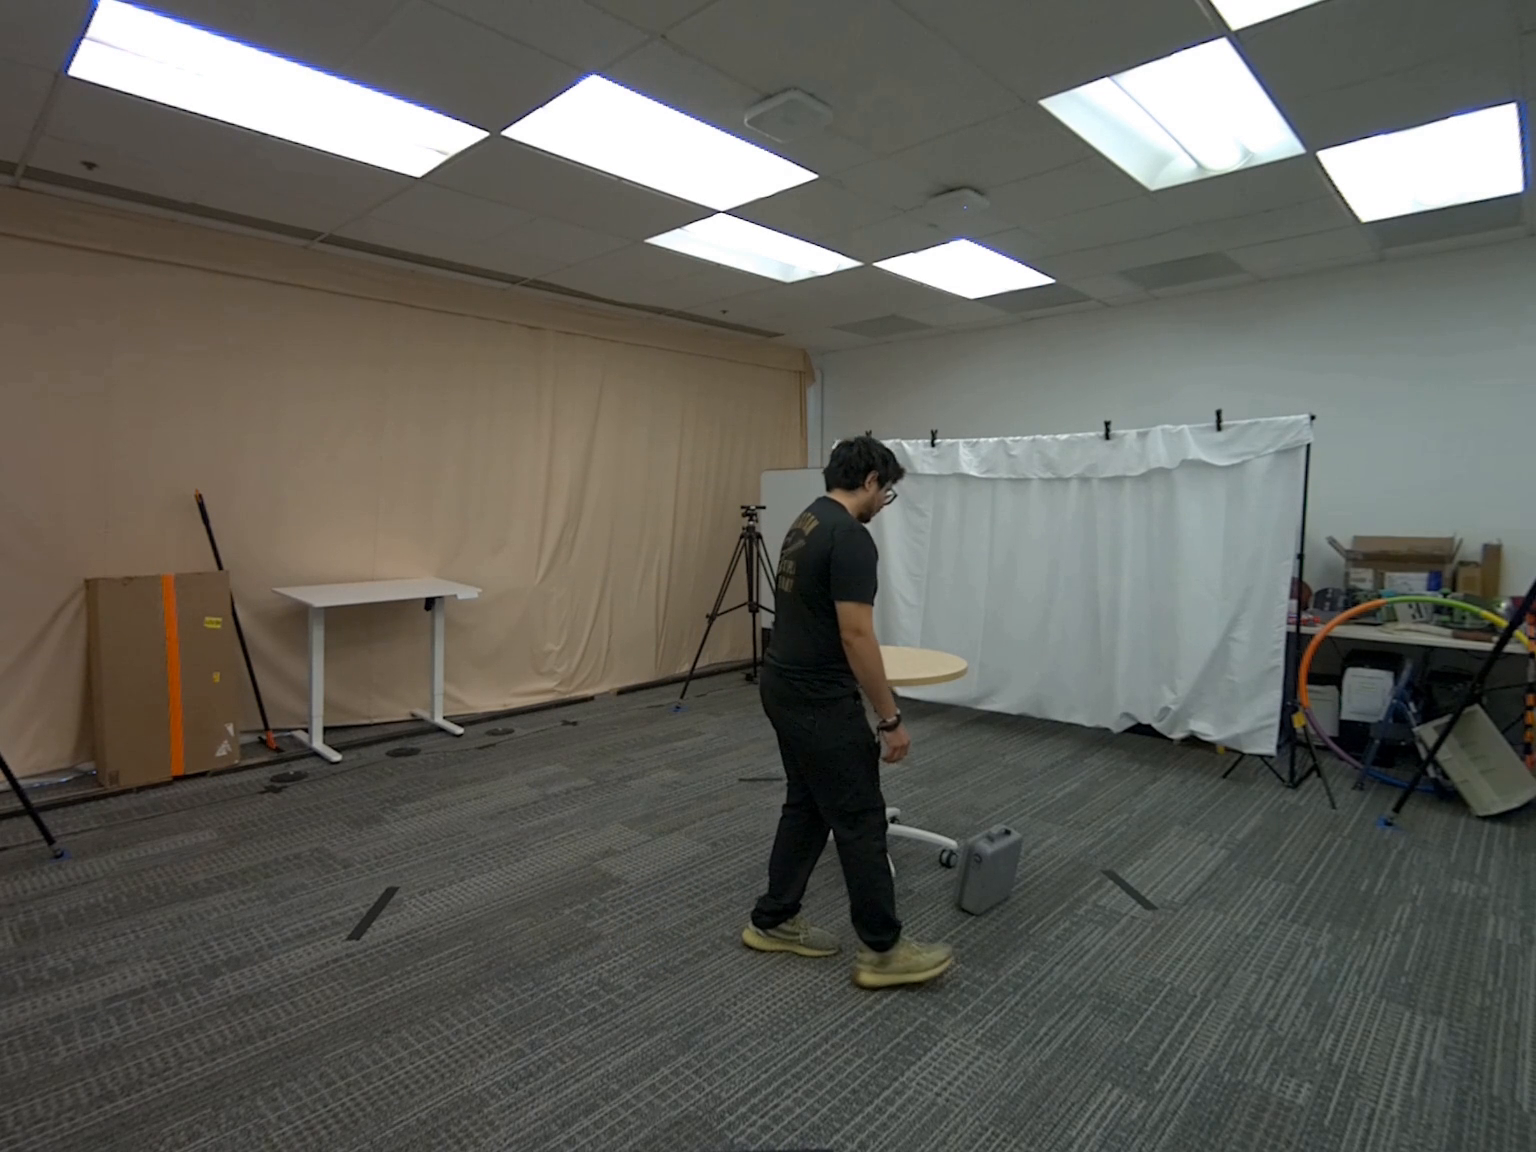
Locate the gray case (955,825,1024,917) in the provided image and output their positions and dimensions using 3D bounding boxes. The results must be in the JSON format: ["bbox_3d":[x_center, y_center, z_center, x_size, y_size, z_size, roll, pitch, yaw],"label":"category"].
[{"bbox_3d":[0.777,1.013,2.927,0.249,0.259,0.108,-2,14,-44],"label":"gray case"}]
